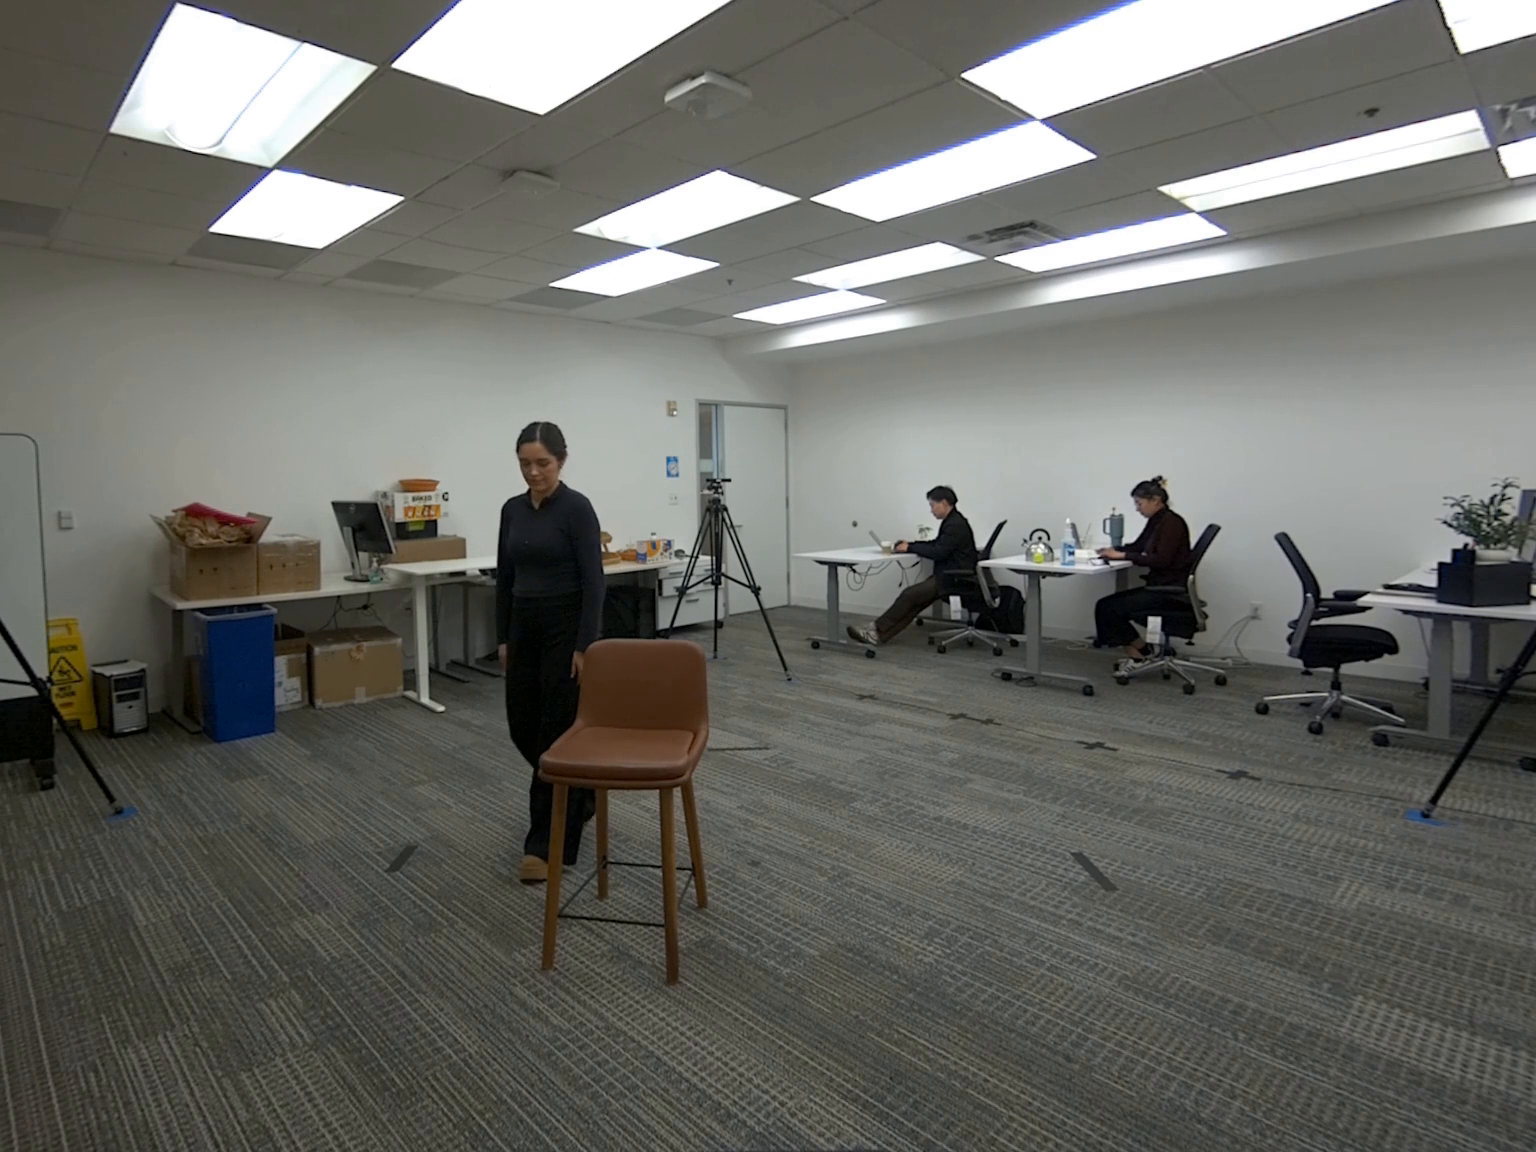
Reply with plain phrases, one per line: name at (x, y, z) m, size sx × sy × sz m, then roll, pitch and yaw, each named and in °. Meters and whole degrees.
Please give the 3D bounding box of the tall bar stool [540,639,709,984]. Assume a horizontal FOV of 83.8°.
tall bar stool at (-0.420, 0.677, 2.608) m, size 0.462 × 0.887 × 0.463 m, roll 0°, pitch 3°, yaw 12°
